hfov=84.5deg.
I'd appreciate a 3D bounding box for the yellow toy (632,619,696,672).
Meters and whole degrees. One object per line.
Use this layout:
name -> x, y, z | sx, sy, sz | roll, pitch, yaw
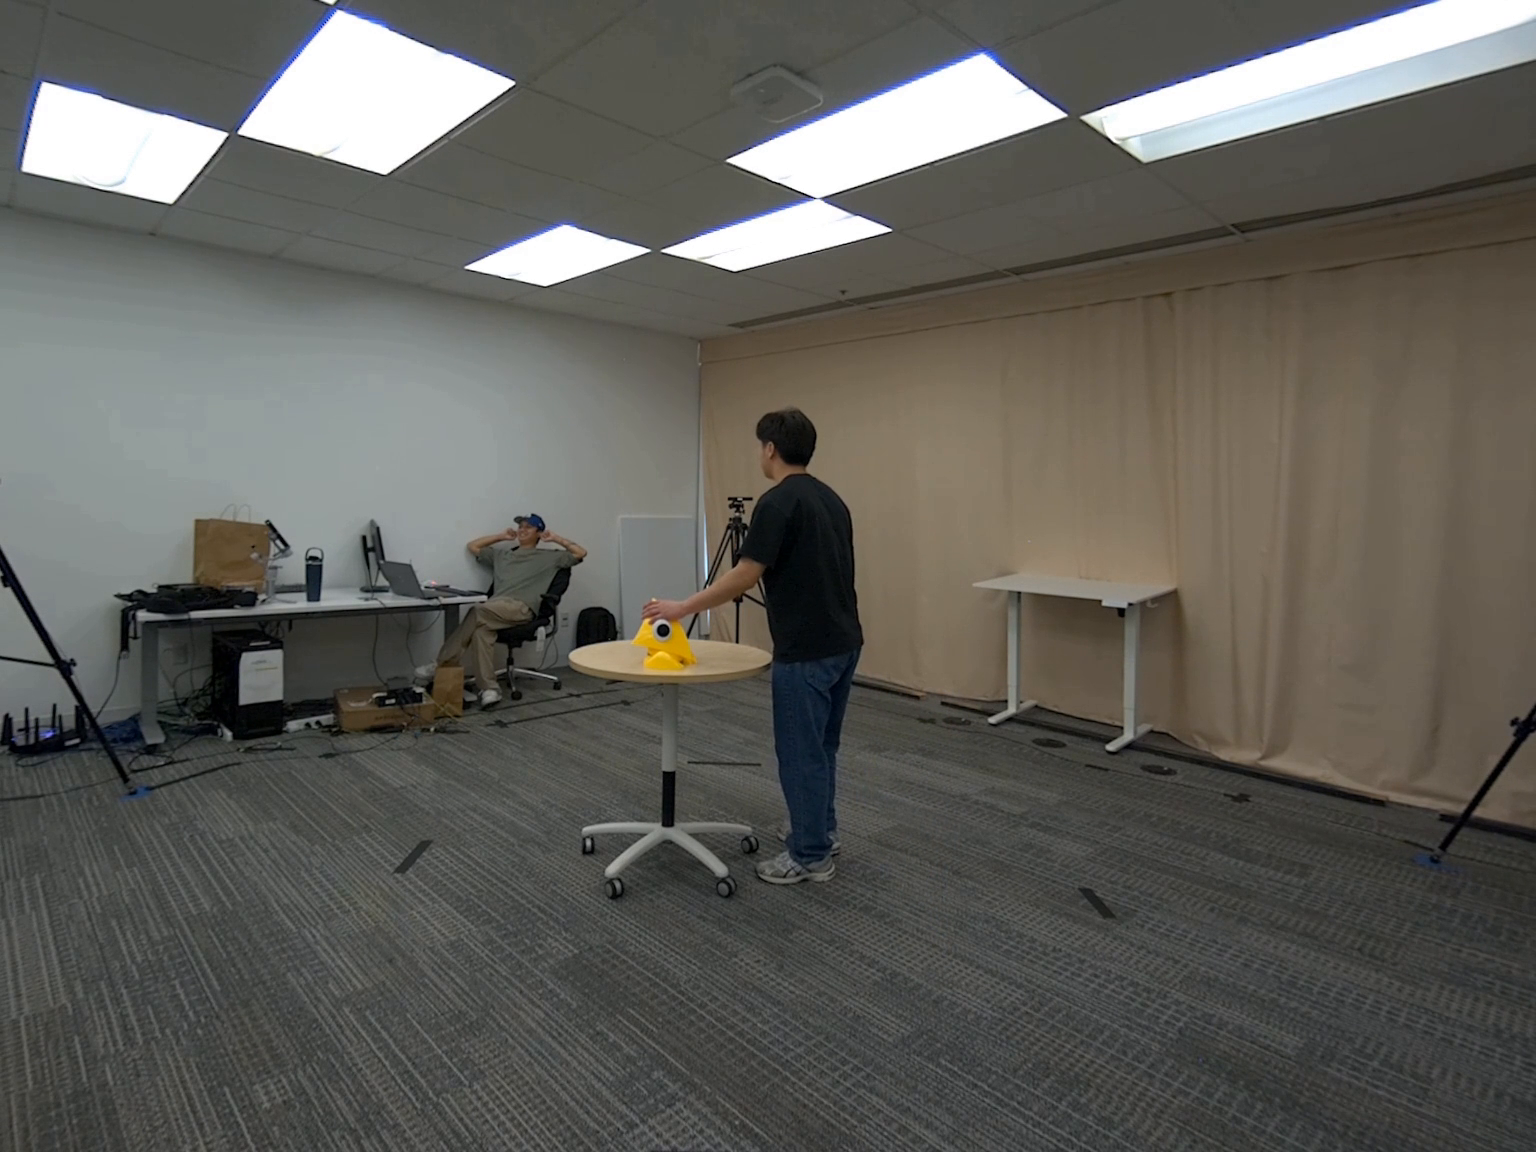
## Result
yellow toy -> -0.360, 0.199, 3.002 | 0.196, 0.230, 0.202 | 3, 5, 20
